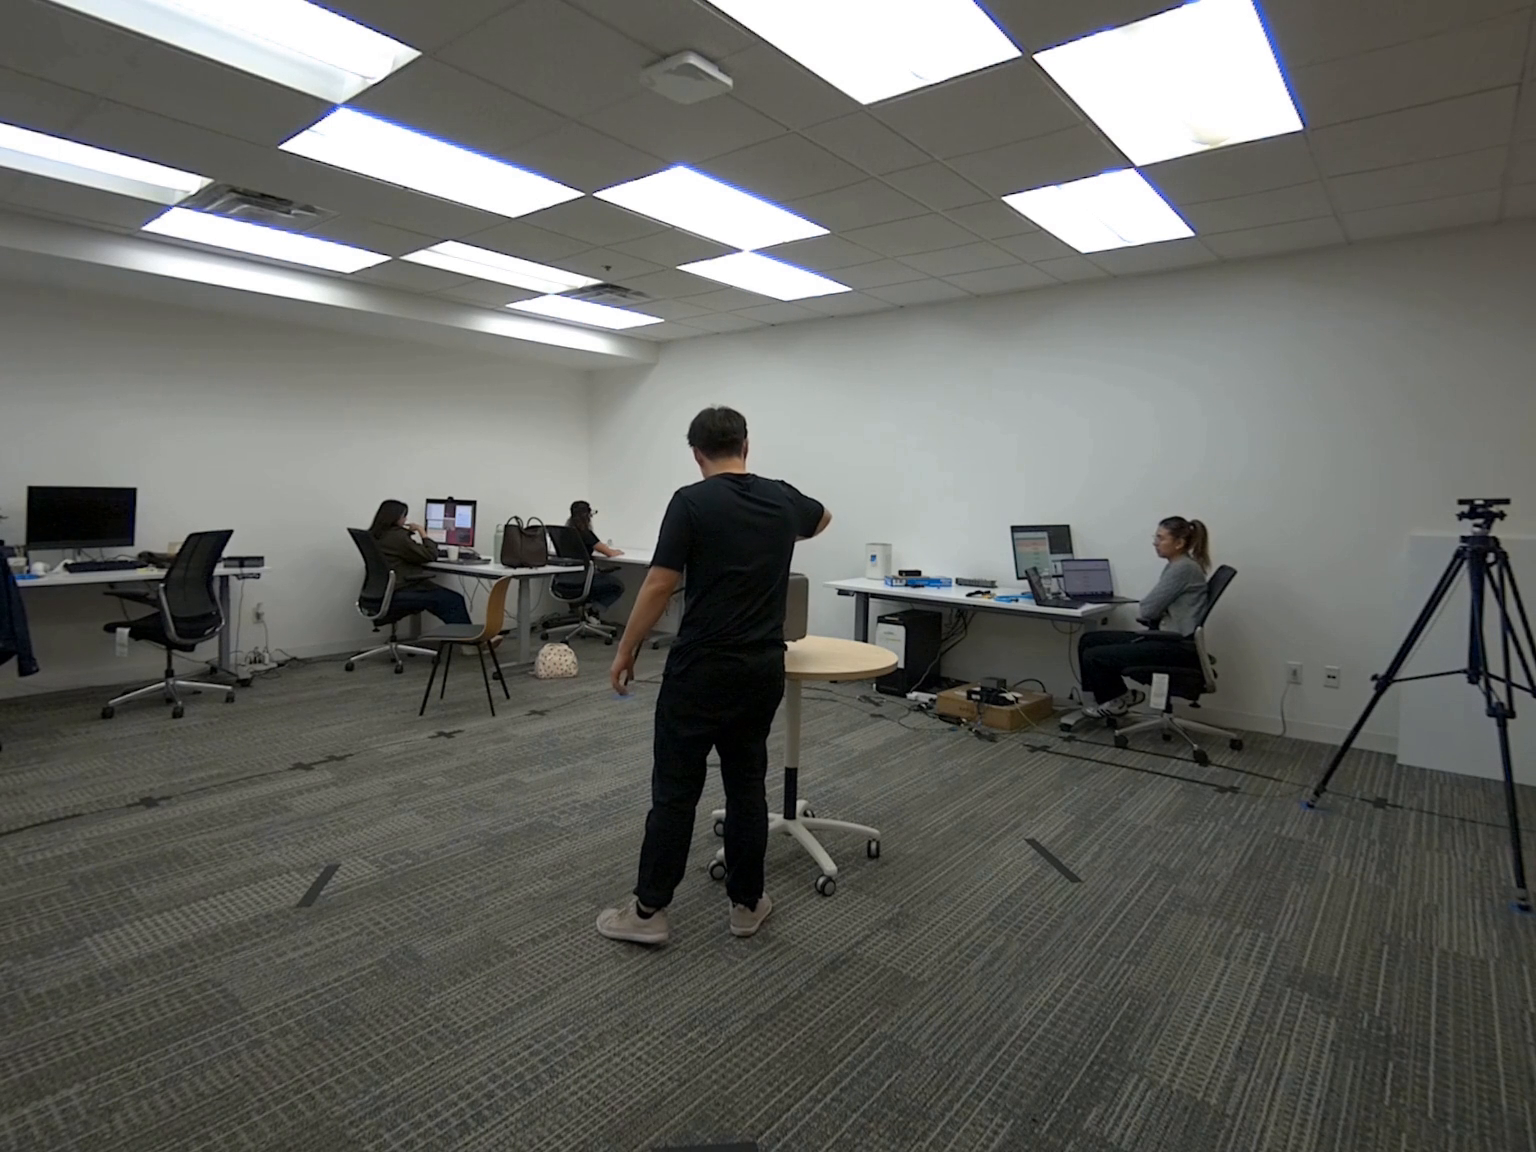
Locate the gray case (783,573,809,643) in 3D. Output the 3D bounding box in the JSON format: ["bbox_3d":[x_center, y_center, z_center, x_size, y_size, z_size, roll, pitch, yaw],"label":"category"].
[{"bbox_3d":[0.009,0.112,3.152,0.251,0.258,0.108,-4,11,-27],"label":"gray case"}]
